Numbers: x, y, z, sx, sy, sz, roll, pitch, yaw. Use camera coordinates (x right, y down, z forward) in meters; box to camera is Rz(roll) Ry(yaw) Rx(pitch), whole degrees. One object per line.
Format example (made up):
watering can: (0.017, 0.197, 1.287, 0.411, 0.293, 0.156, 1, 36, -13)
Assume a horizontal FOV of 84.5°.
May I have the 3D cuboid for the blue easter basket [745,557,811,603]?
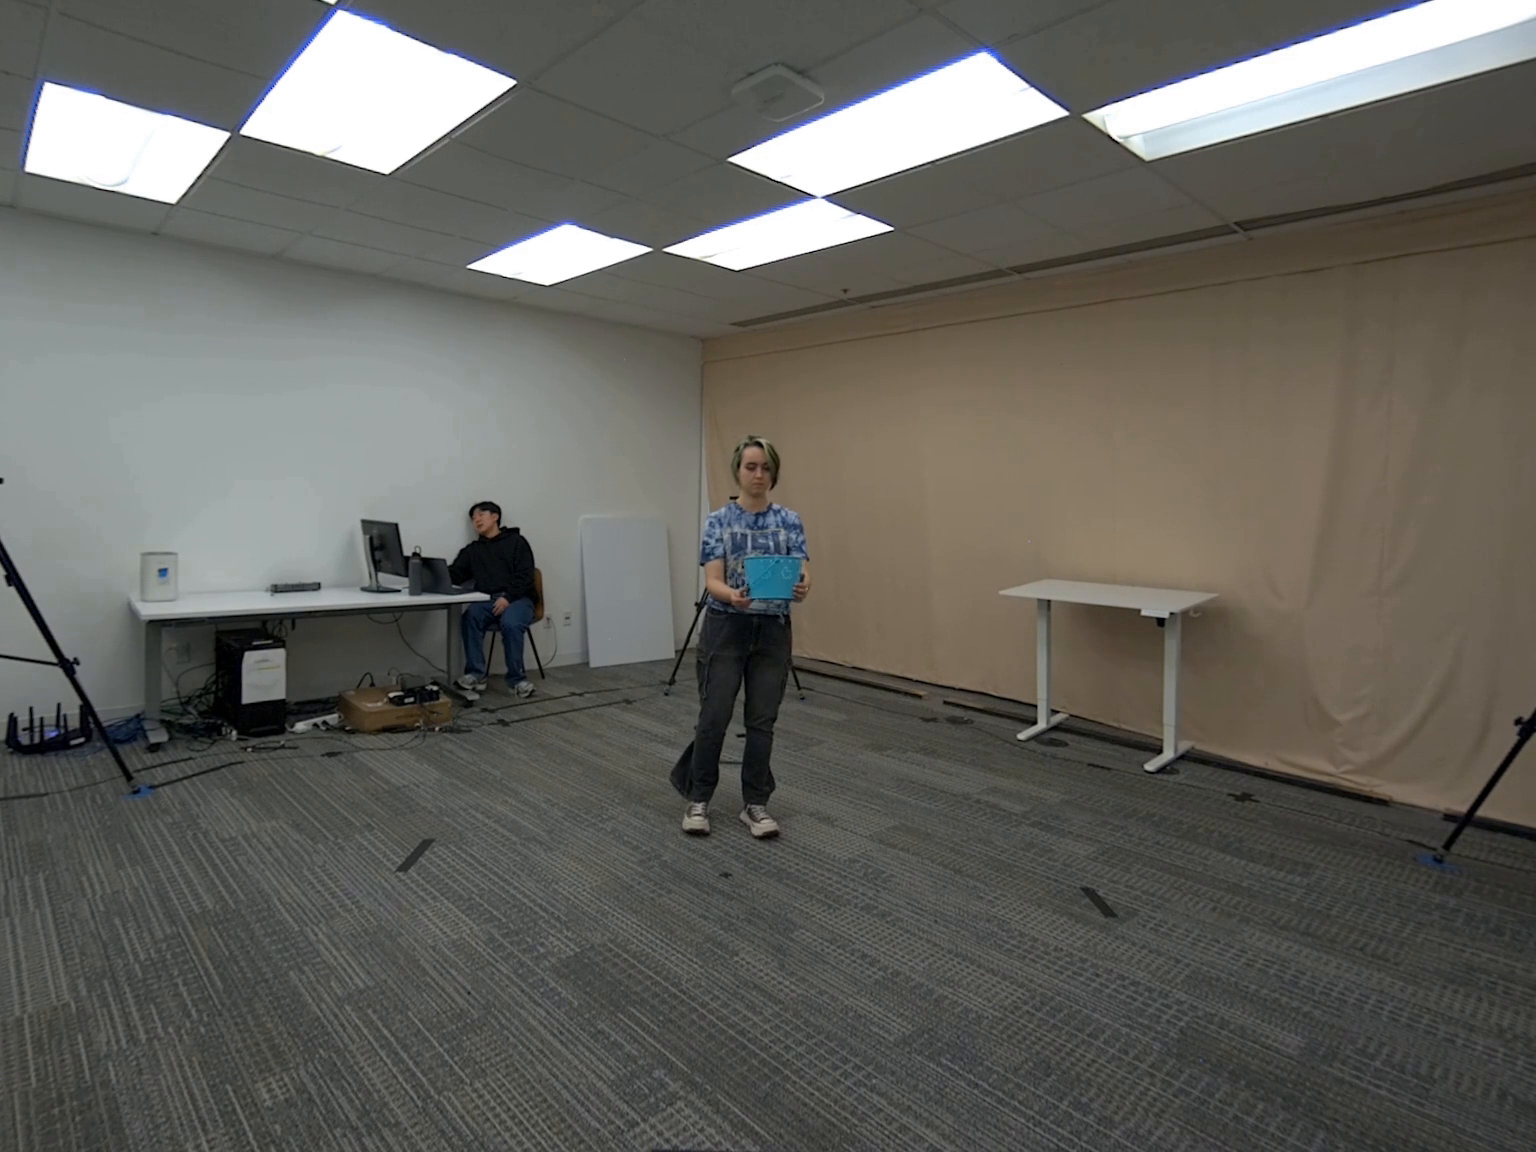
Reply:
blue easter basket: (0.022, 0.017, 3.154, 0.243, 0.156, 0.243, 1, -3, -1)
